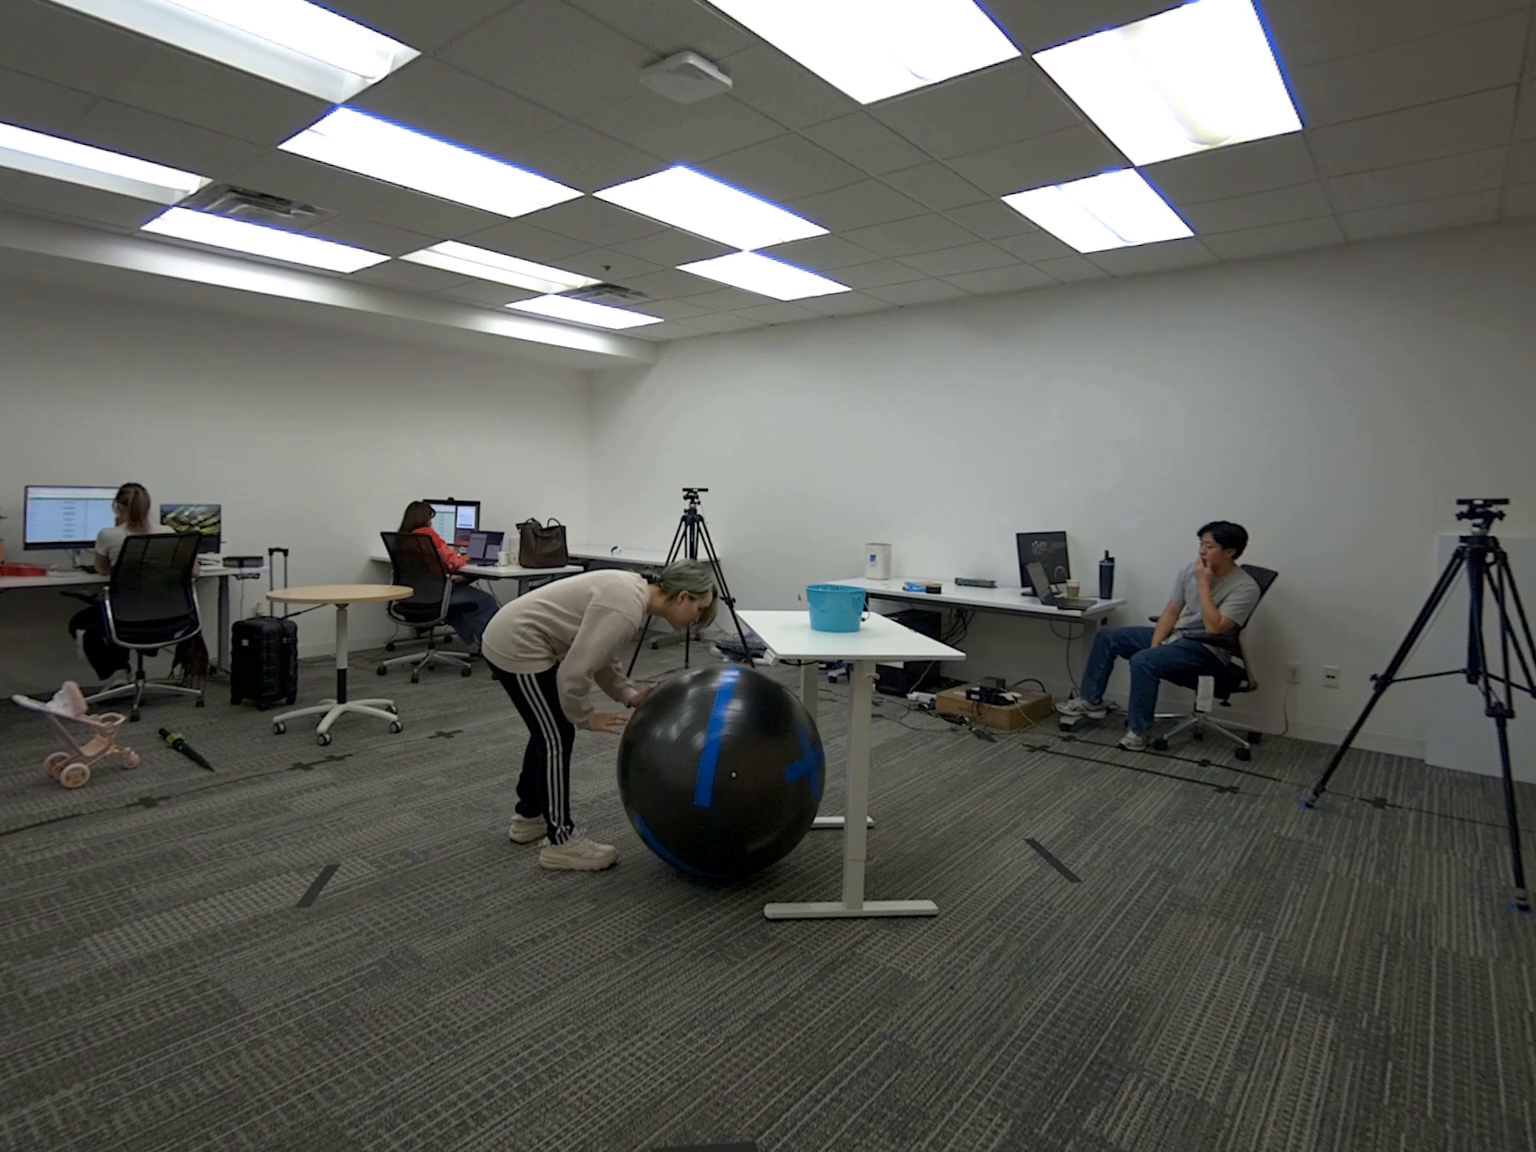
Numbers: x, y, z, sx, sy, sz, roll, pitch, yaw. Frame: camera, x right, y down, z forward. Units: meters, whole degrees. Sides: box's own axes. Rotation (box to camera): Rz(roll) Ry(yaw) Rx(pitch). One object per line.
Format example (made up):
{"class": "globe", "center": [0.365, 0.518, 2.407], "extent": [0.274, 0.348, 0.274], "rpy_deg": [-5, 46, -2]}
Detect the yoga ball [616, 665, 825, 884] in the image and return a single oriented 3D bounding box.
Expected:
{"class": "yoga ball", "center": [-0.178, 0.701, 3.113], "extent": [0.757, 0.755, 0.762], "rpy_deg": [1, 4, -2]}
